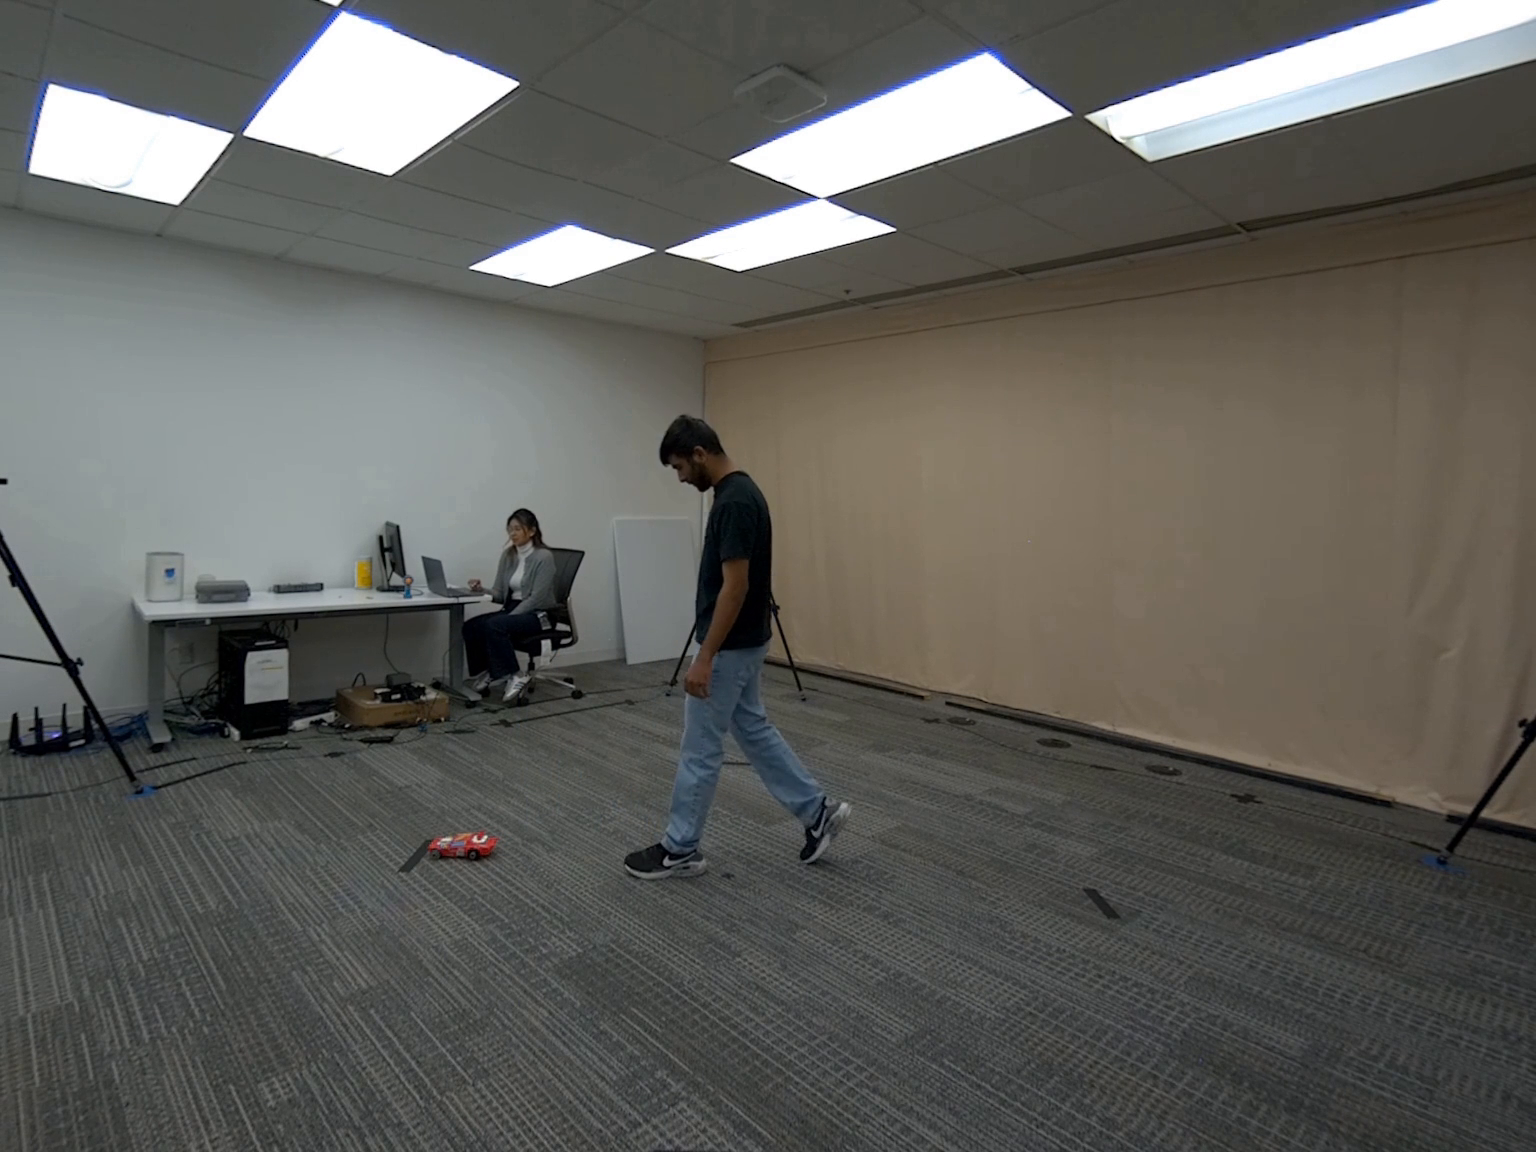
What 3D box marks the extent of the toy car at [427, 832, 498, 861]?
[{"bbox_3d":[-1.174,1.040,3.236,0.255,0.083,0.130,-9,3,1],"label":"toy car"}]
